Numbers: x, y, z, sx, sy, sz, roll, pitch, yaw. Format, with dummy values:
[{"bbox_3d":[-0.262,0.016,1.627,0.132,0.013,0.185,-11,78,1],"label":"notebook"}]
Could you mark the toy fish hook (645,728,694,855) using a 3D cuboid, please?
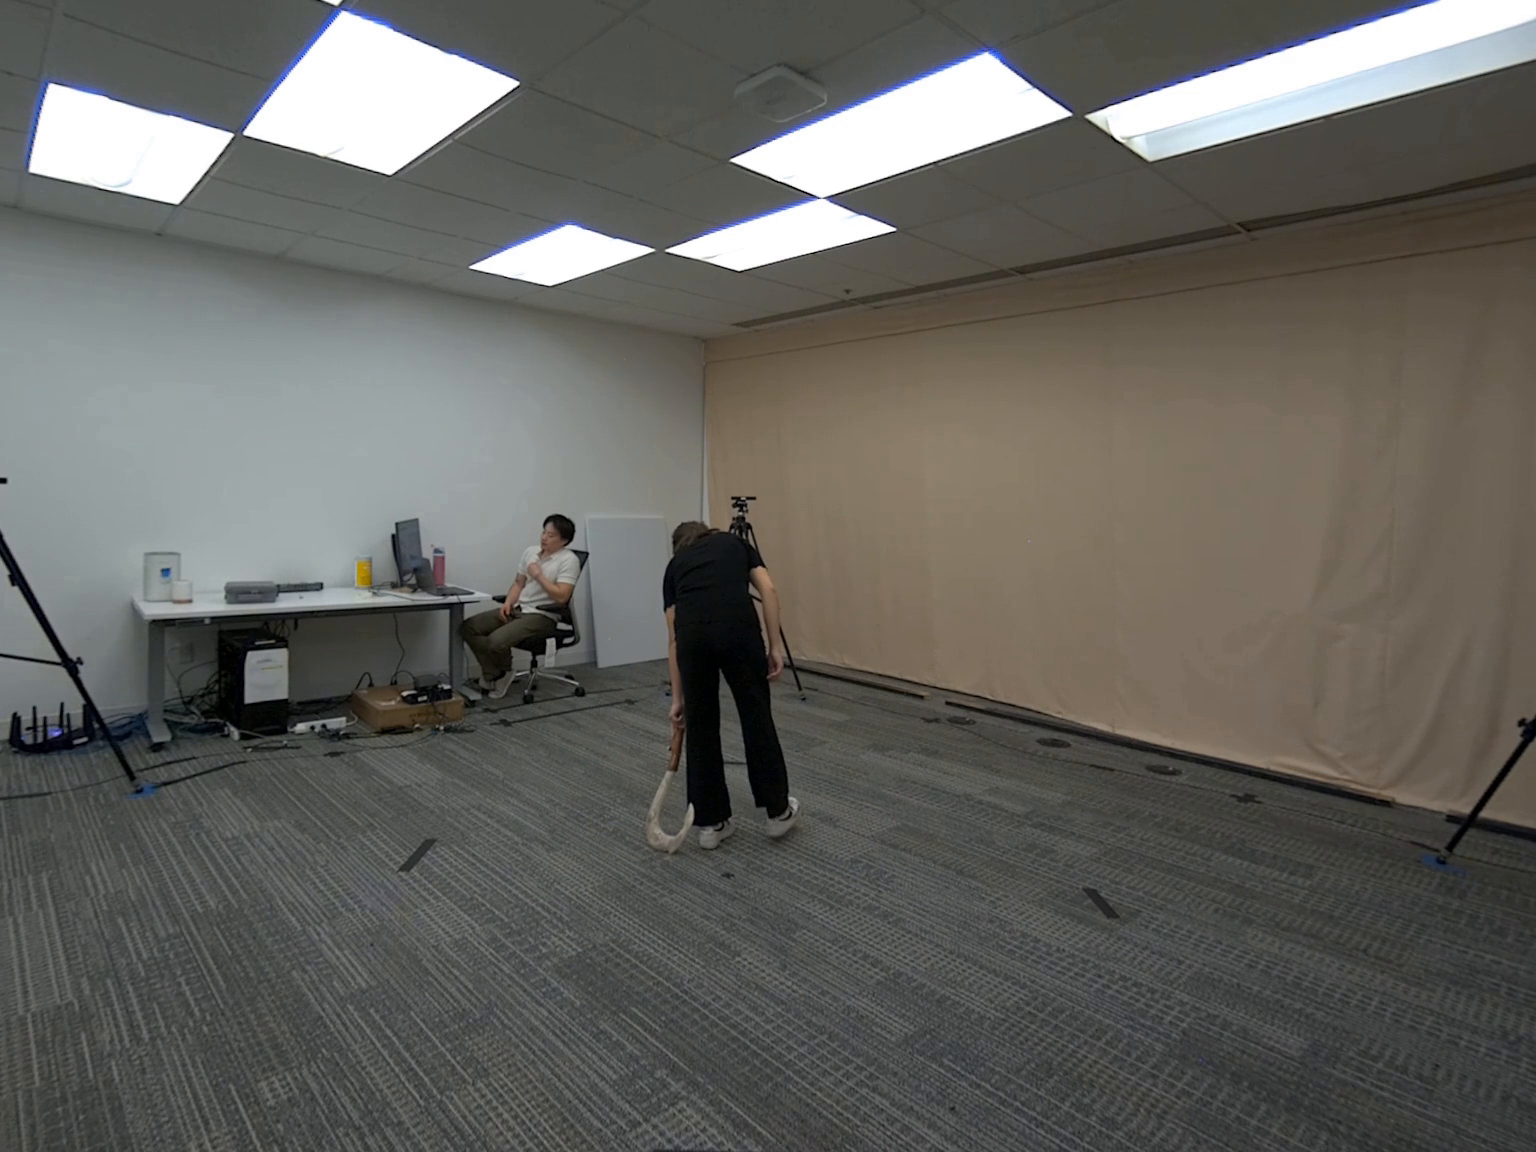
[{"bbox_3d":[-0.367,0.841,3.374,0.229,0.511,0.047,2,-20,30],"label":"toy fish hook"}]
